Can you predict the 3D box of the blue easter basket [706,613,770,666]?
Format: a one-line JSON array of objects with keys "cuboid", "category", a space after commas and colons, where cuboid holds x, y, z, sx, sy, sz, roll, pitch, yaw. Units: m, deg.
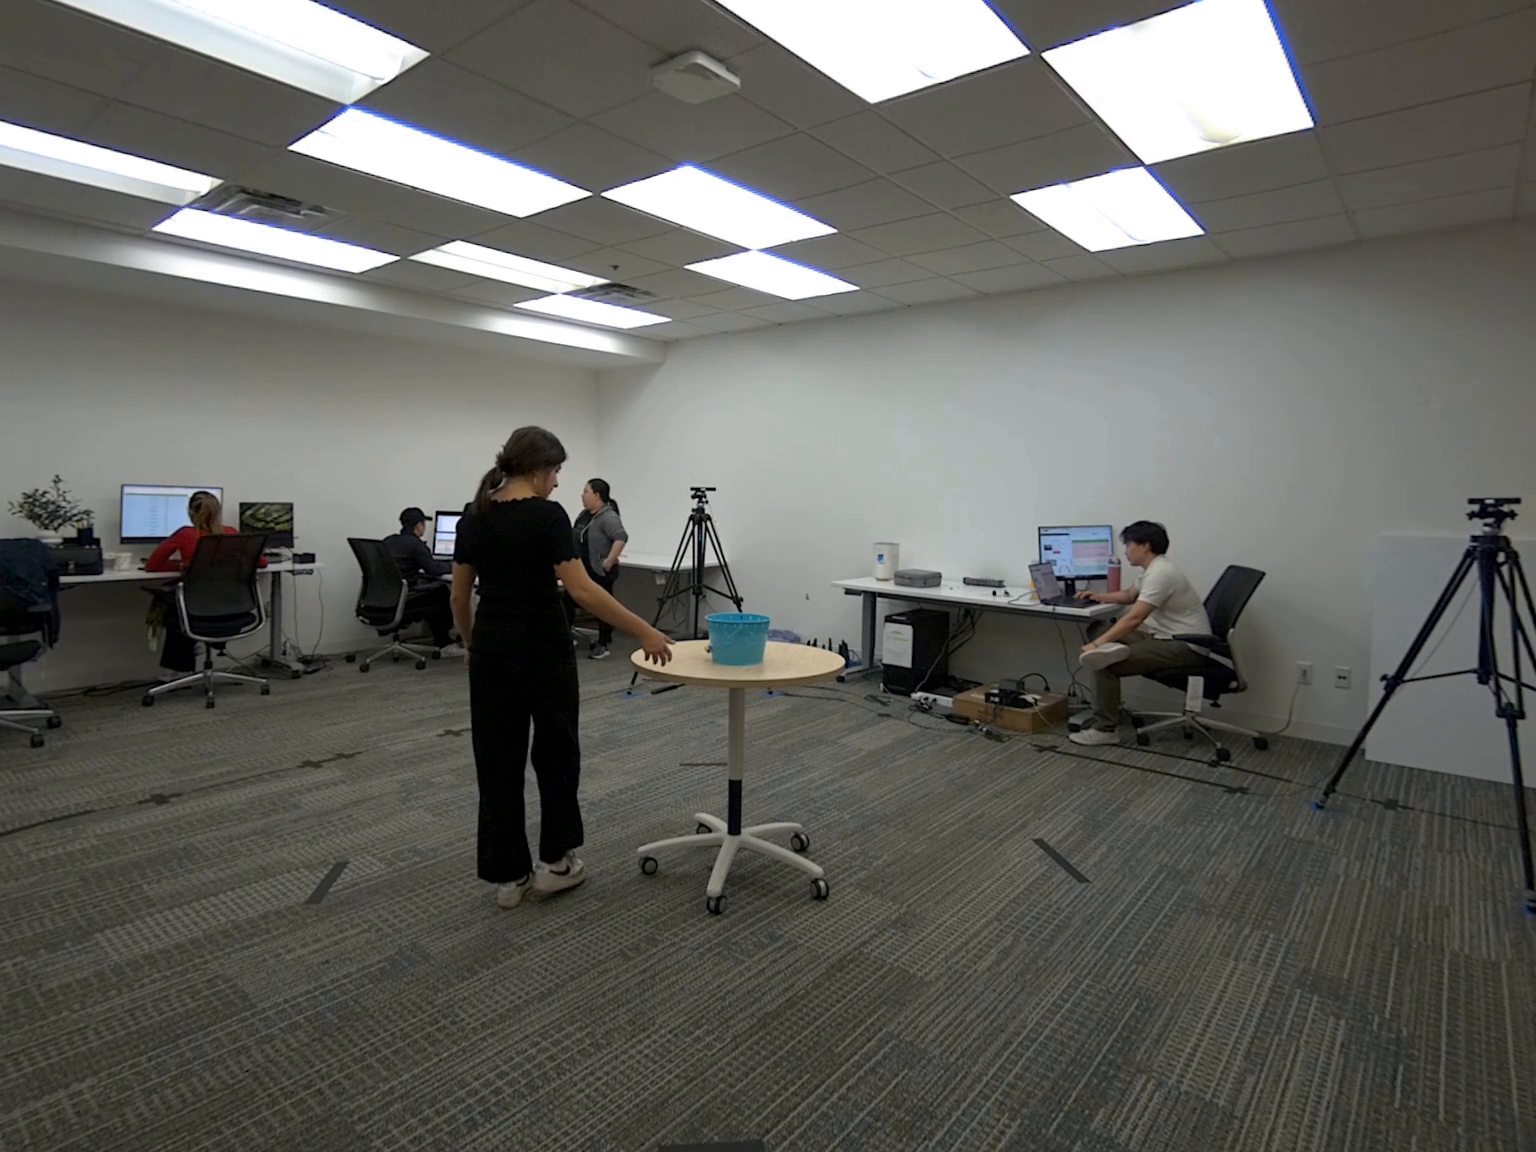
[{"cuboid": [-0.123, 0.221, 3.001, 0.243, 0.155, 0.245, 1, 4, -2], "category": "blue easter basket"}]
